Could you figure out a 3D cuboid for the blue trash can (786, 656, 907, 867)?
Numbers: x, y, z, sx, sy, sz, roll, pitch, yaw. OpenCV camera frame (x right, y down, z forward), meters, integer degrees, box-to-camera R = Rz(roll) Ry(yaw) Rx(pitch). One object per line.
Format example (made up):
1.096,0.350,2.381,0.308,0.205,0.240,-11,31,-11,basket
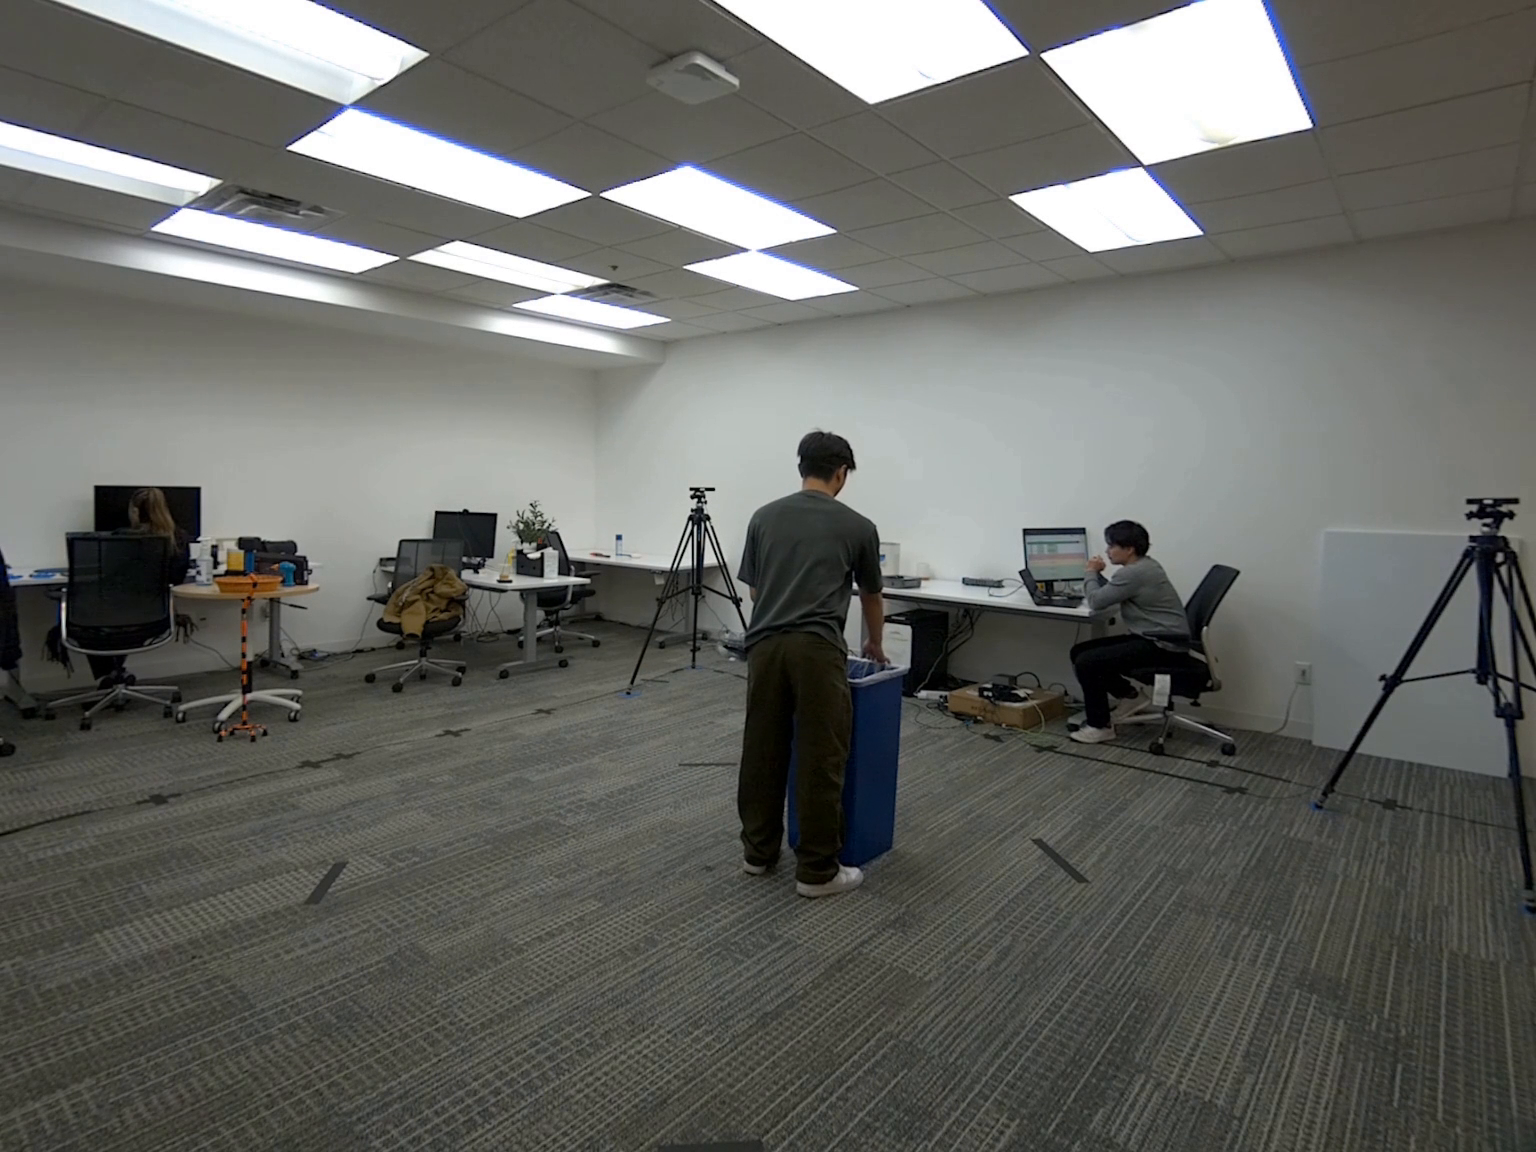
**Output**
0.282,0.699,3.301,0.391,0.712,0.362,3,3,40,blue trash can
